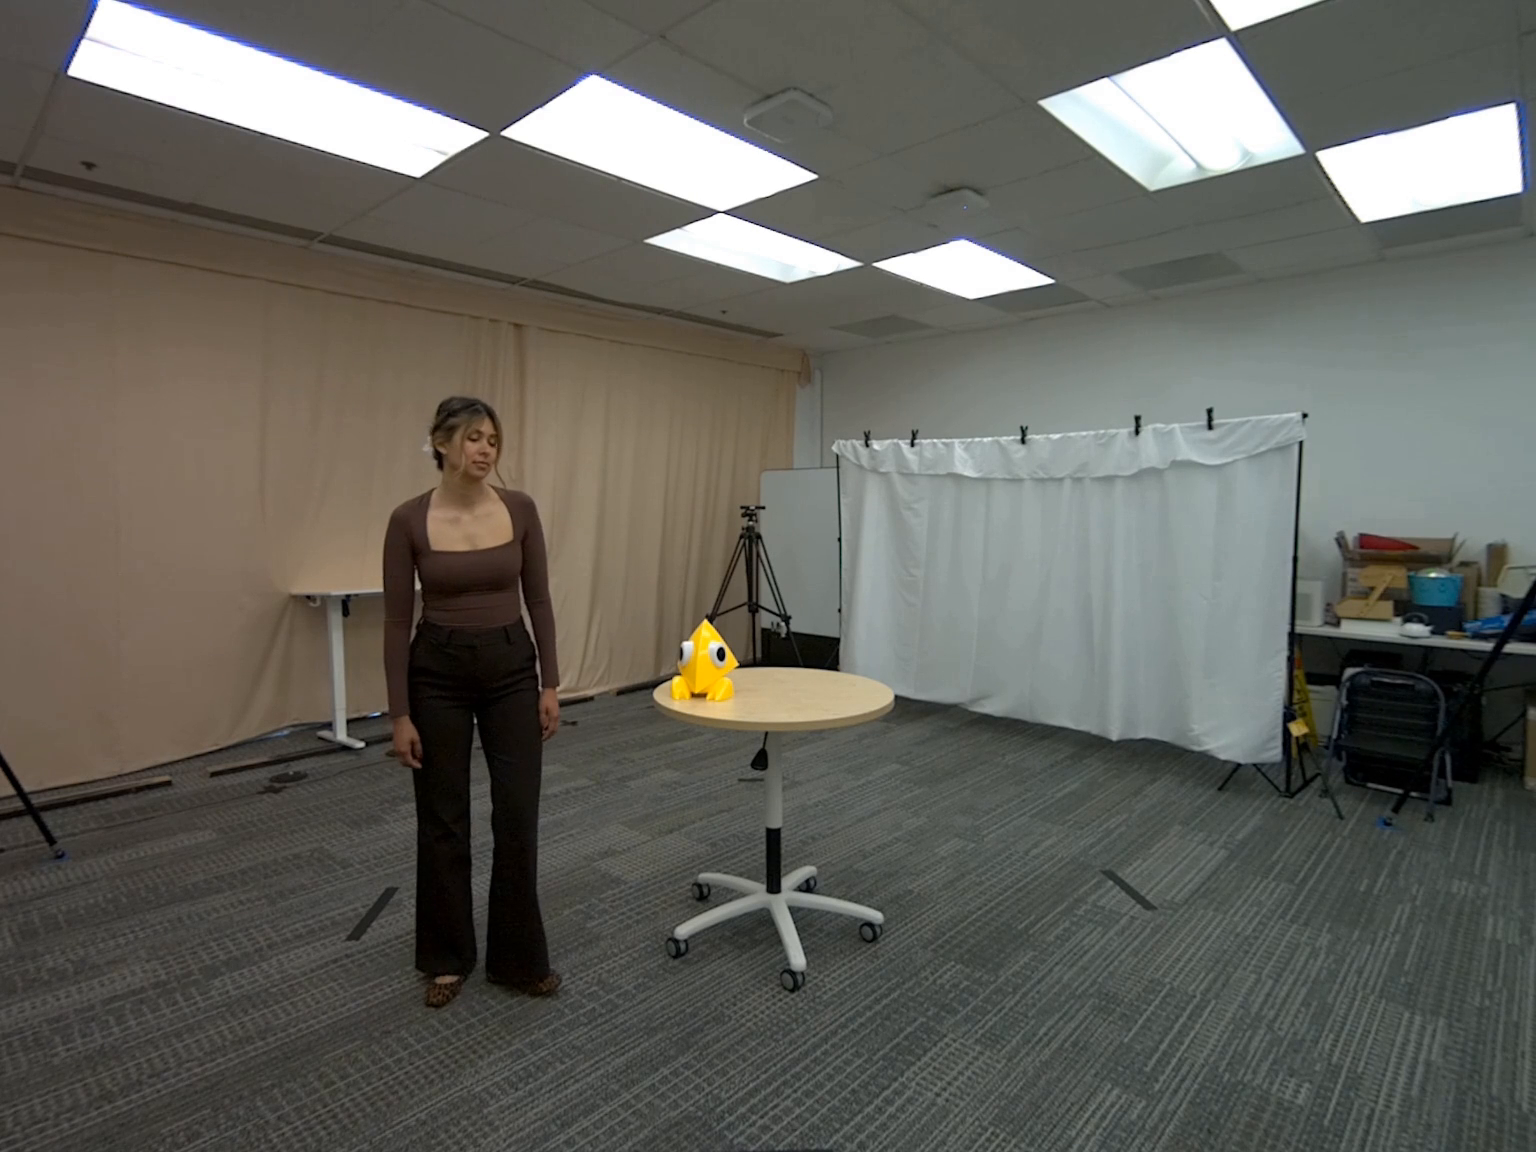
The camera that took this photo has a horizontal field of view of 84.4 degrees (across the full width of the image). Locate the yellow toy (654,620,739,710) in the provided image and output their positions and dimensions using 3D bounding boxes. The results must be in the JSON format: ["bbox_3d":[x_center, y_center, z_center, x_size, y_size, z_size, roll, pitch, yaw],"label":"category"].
[{"bbox_3d":[-0.207,0.259,2.669,0.207,0.230,0.191,0,2,10],"label":"yellow toy"}]
